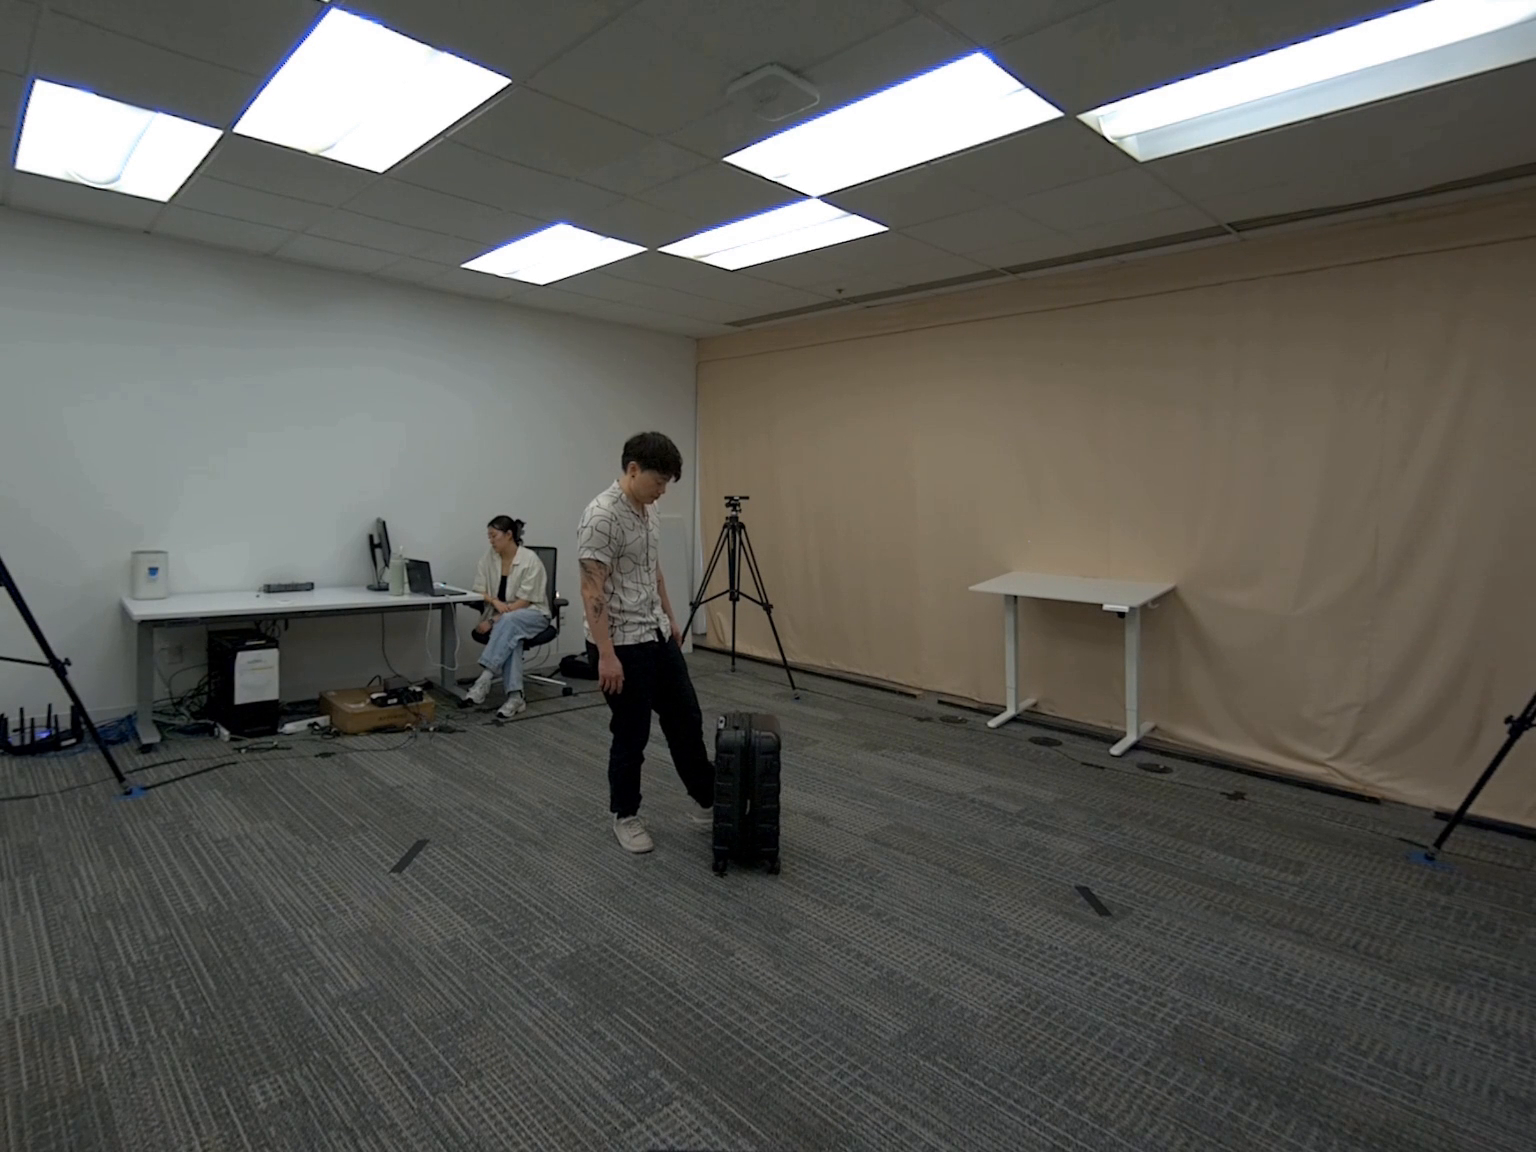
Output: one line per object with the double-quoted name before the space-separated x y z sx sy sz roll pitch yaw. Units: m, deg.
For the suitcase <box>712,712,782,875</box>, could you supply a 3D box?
"suitcase" -0.092 0.812 3.246 0.248 0.548 0.376 2 4 -1
